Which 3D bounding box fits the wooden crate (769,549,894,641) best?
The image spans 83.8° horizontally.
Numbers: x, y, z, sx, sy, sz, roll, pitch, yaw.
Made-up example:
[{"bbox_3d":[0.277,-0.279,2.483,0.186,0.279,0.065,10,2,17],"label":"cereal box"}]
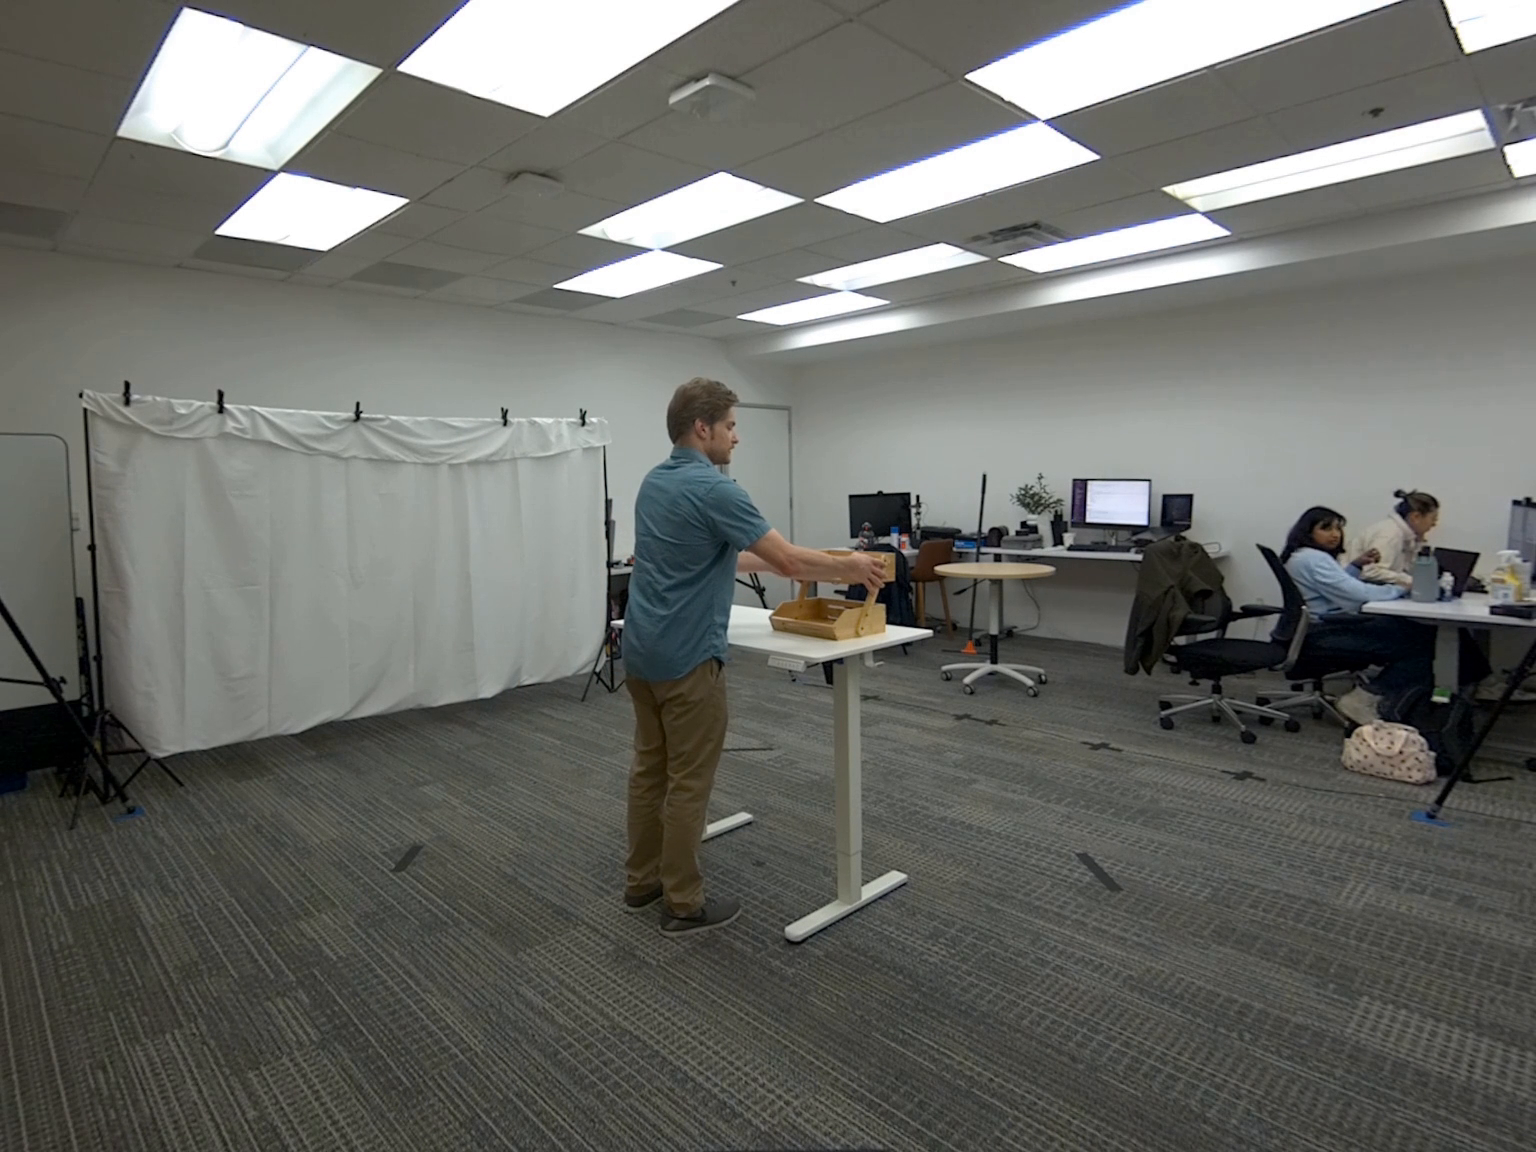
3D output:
[{"bbox_3d":[0.213,0.052,2.876,0.294,0.272,0.334,-4,5,-41],"label":"wooden crate"}]
